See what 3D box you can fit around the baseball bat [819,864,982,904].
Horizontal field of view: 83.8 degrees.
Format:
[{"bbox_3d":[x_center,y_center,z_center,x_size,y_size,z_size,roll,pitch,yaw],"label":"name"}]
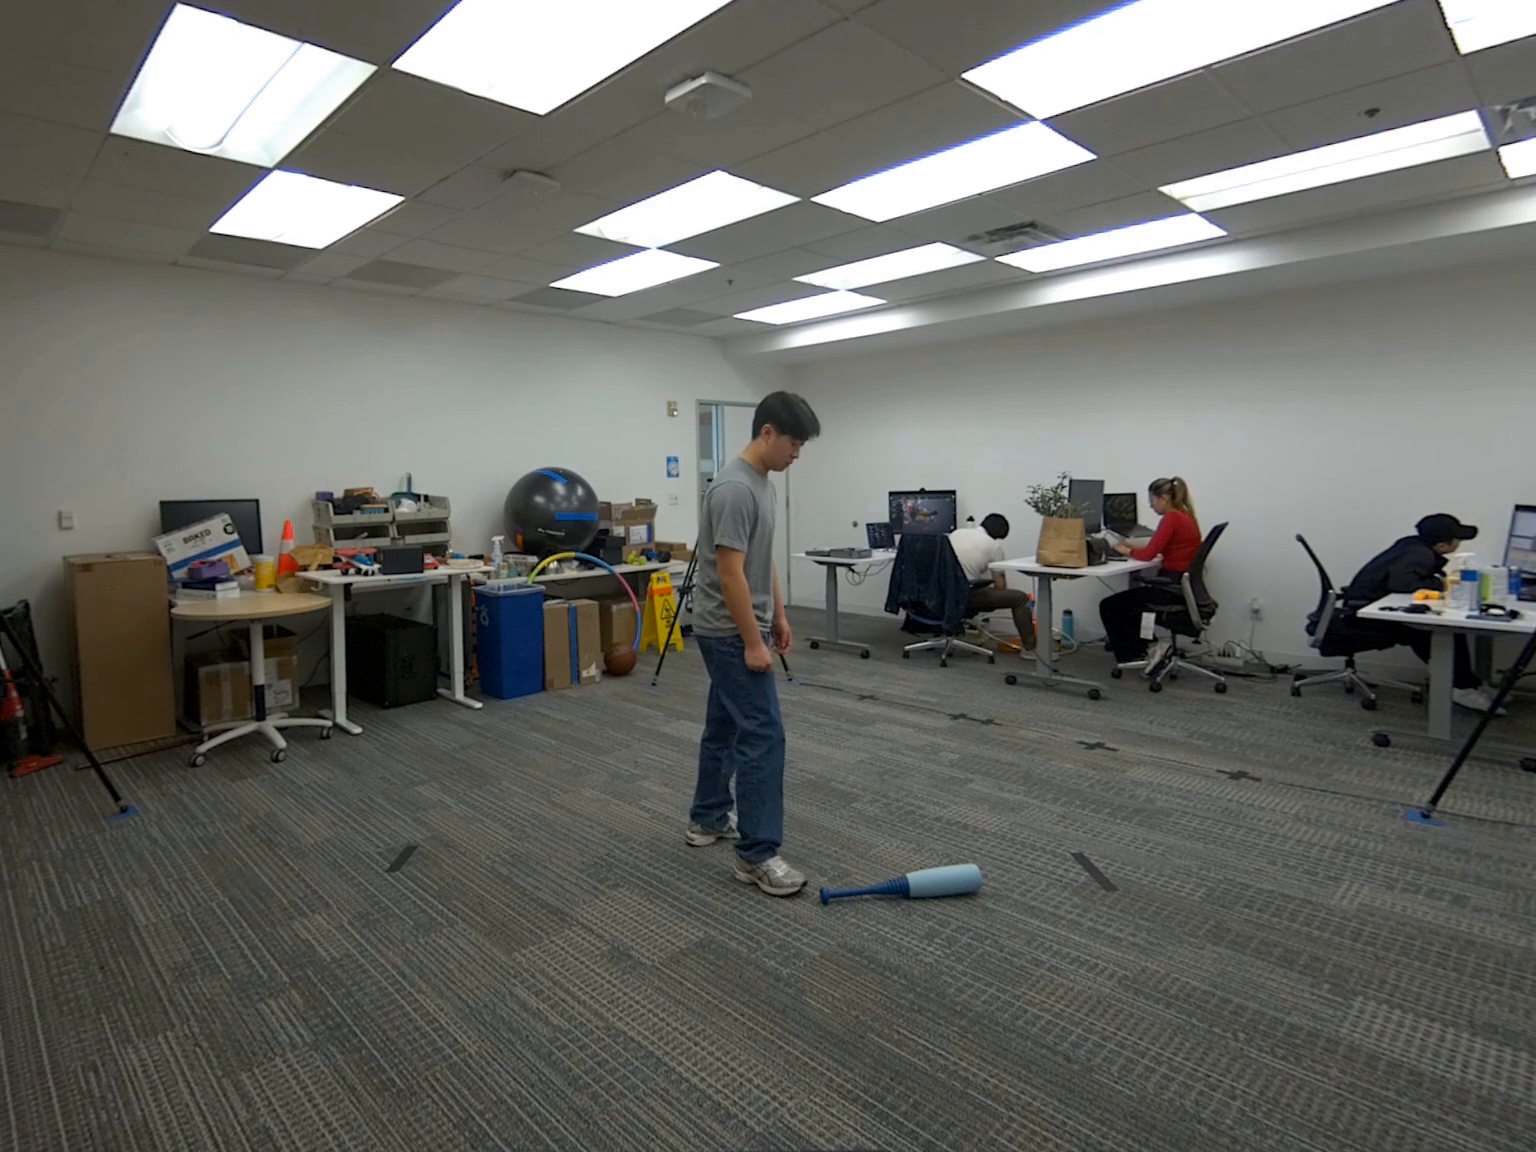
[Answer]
[{"bbox_3d":[0.445,1.033,2.832,0.541,0.089,0.090,-5,5,-4],"label":"baseball bat"}]
